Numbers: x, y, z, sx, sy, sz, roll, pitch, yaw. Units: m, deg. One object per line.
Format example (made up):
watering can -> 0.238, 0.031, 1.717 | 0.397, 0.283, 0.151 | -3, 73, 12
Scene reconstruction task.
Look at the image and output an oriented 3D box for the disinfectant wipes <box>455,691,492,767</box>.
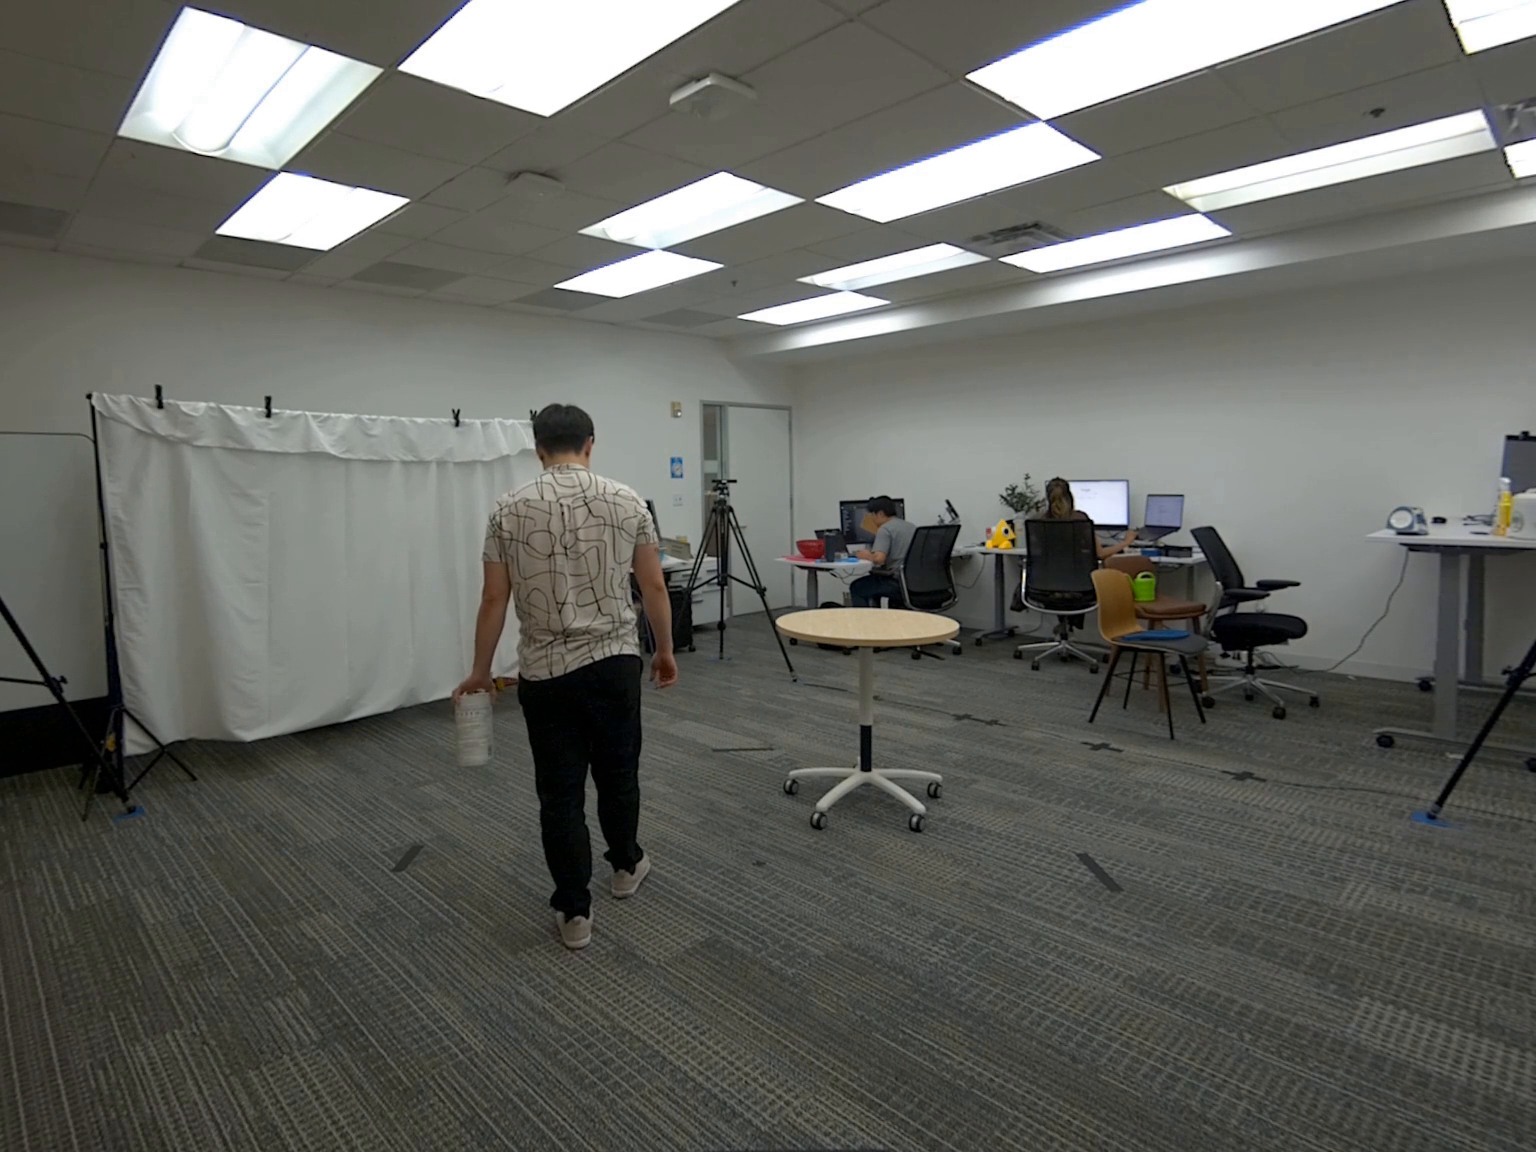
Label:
disinfectant wipes -> -0.894, 0.473, 2.633 | 0.117, 0.219, 0.117 | -3, -5, -2
